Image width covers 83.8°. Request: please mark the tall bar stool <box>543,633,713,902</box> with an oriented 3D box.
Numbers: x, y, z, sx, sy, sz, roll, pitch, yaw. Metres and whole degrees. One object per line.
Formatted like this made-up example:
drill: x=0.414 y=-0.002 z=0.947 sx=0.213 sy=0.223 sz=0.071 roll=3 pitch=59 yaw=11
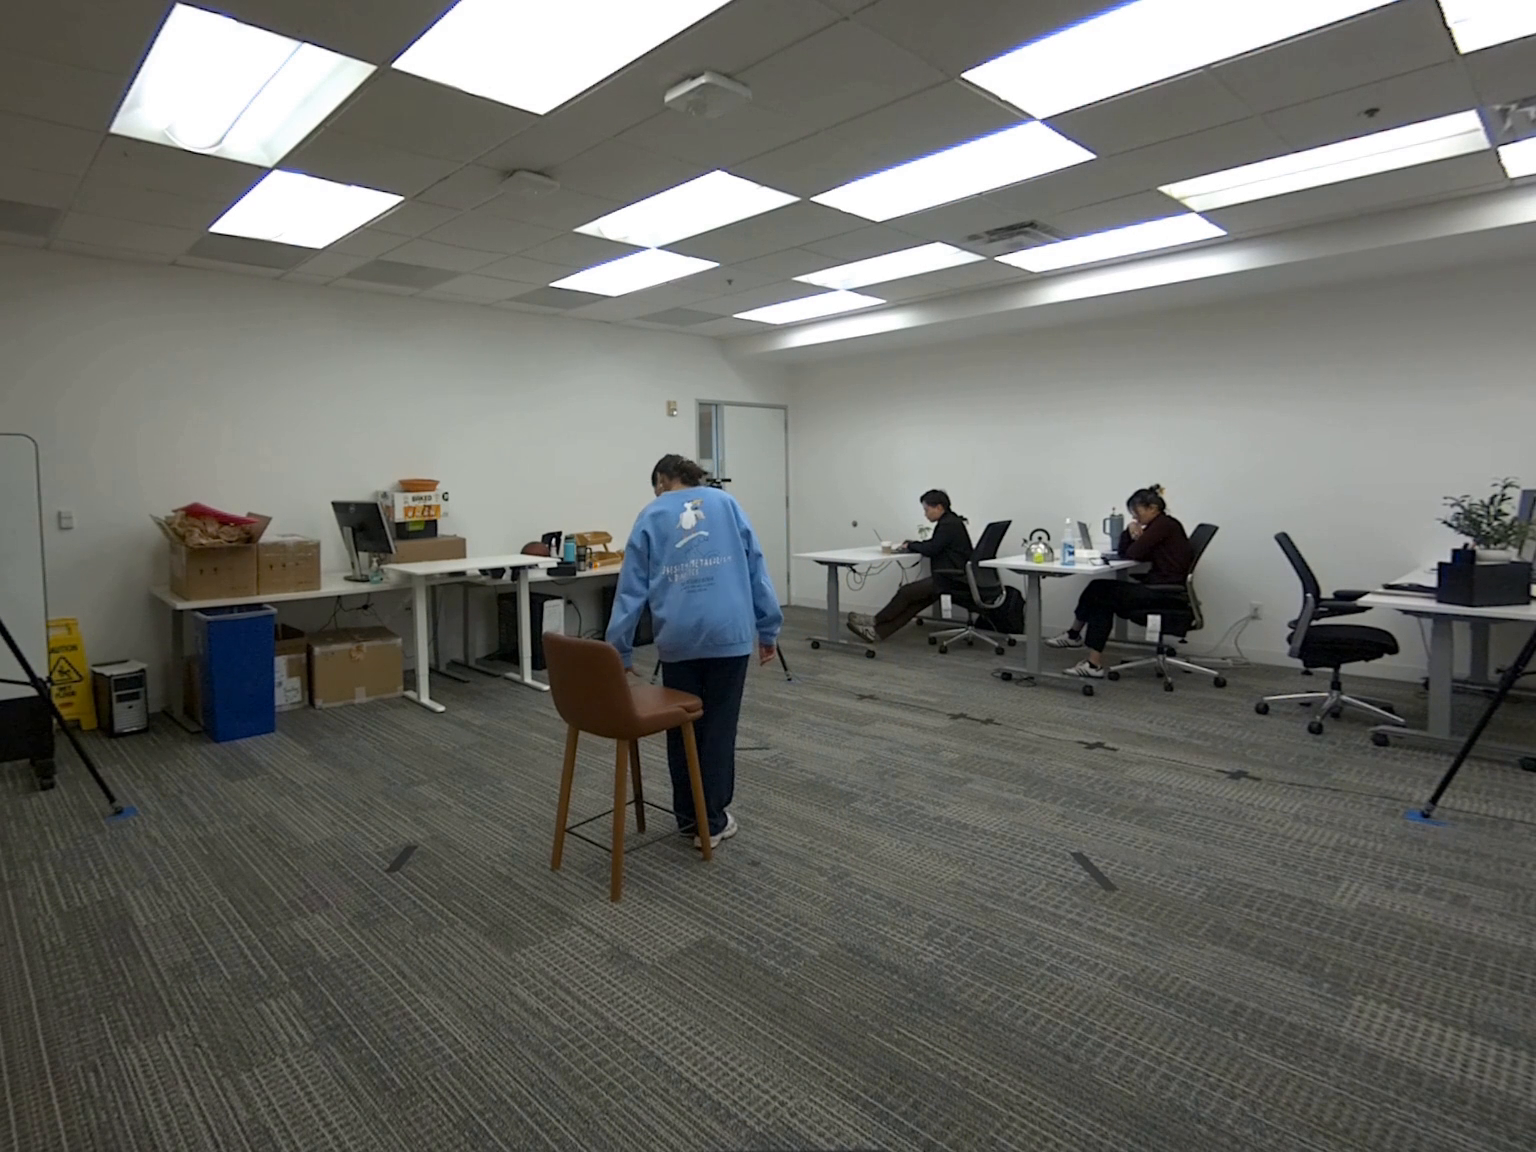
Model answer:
tall bar stool: x=-0.517 y=0.615 z=3.090 sx=0.470 sy=0.885 sz=0.456 roll=3 pitch=8 yaw=43
